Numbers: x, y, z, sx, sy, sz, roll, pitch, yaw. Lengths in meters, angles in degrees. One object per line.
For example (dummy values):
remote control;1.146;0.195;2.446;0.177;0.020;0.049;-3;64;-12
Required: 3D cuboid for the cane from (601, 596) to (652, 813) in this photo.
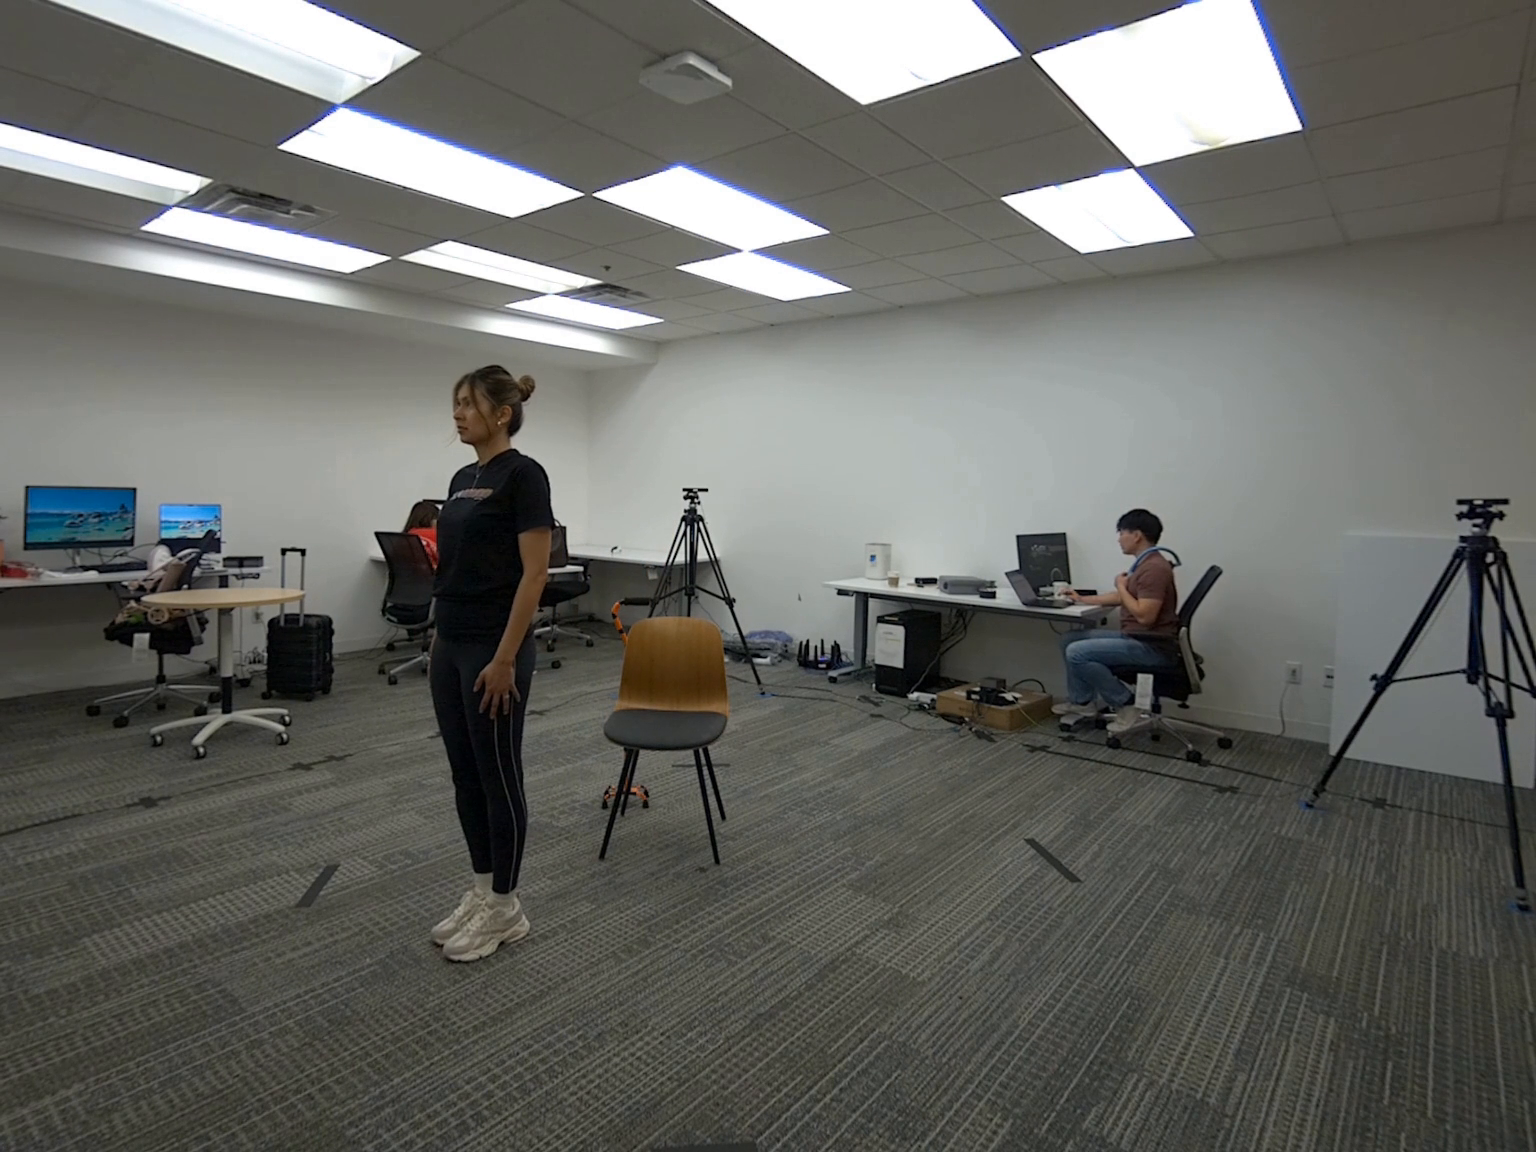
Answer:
cane;-0.634;0.547;3.741;0.205;0.906;0.153;0;2;-5
